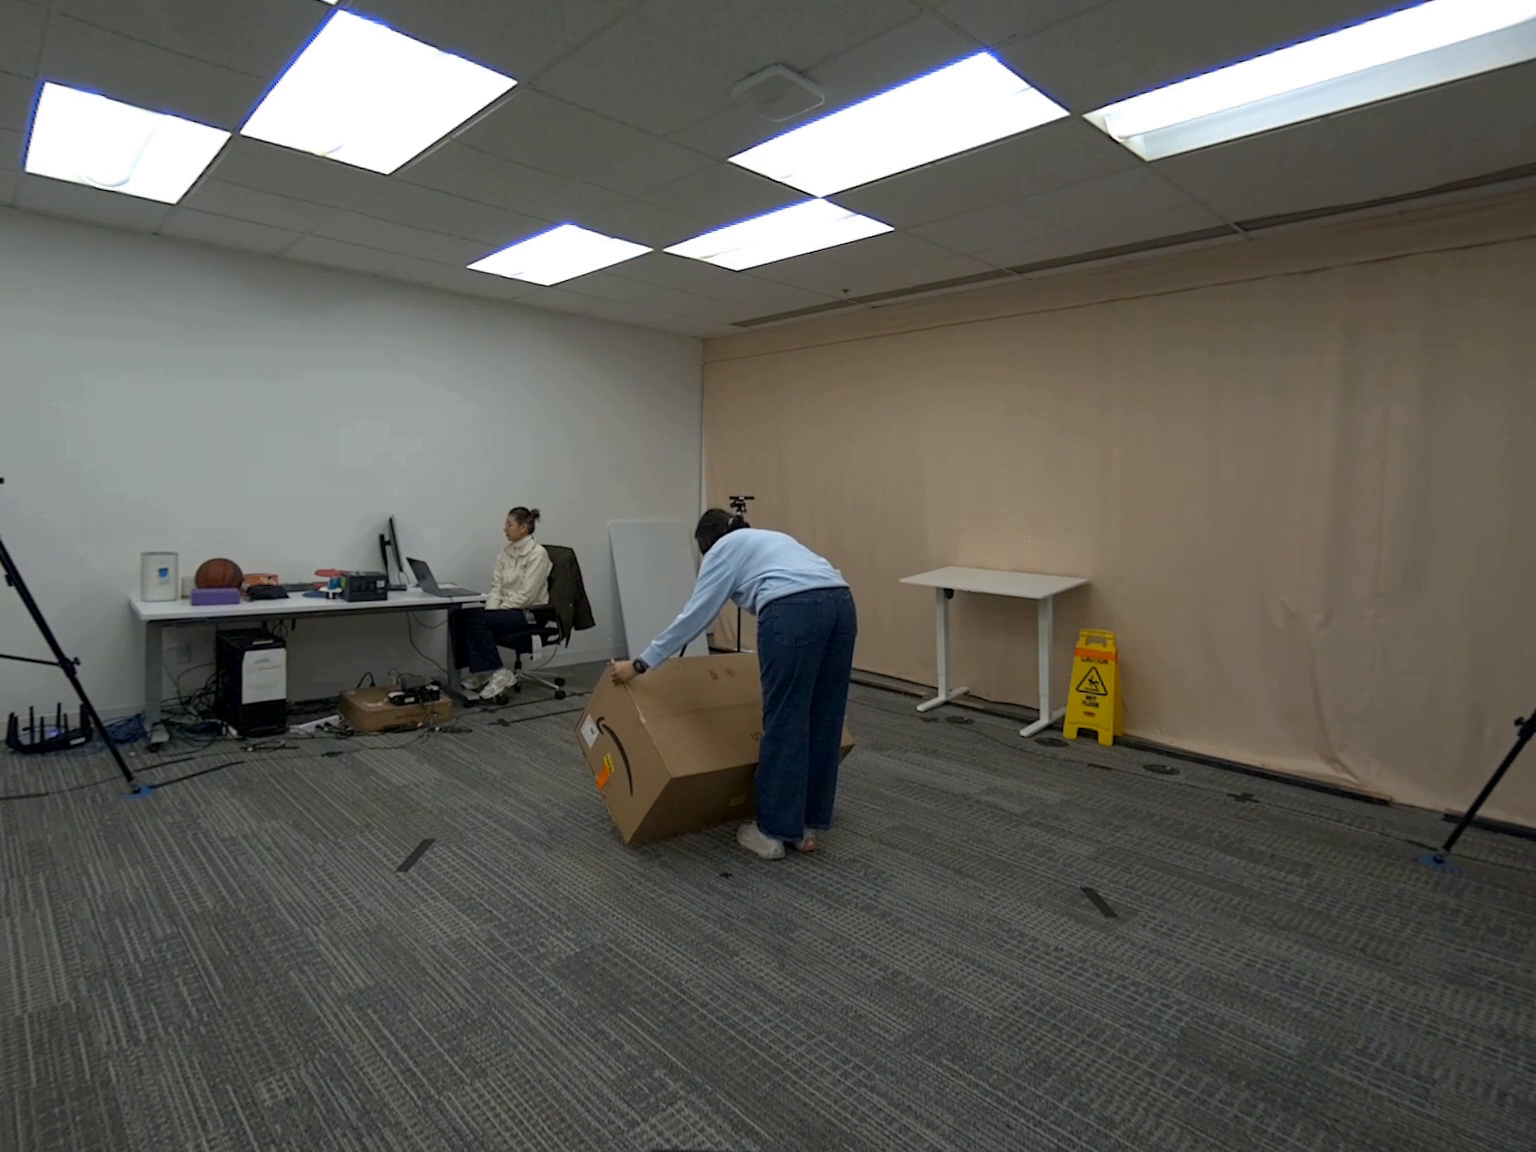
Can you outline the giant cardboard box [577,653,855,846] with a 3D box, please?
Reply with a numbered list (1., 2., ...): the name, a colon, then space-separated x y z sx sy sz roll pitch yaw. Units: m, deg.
1. giant cardboard box: -0.224 0.693 3.640 1.001 0.423 0.595 0 41 -42
